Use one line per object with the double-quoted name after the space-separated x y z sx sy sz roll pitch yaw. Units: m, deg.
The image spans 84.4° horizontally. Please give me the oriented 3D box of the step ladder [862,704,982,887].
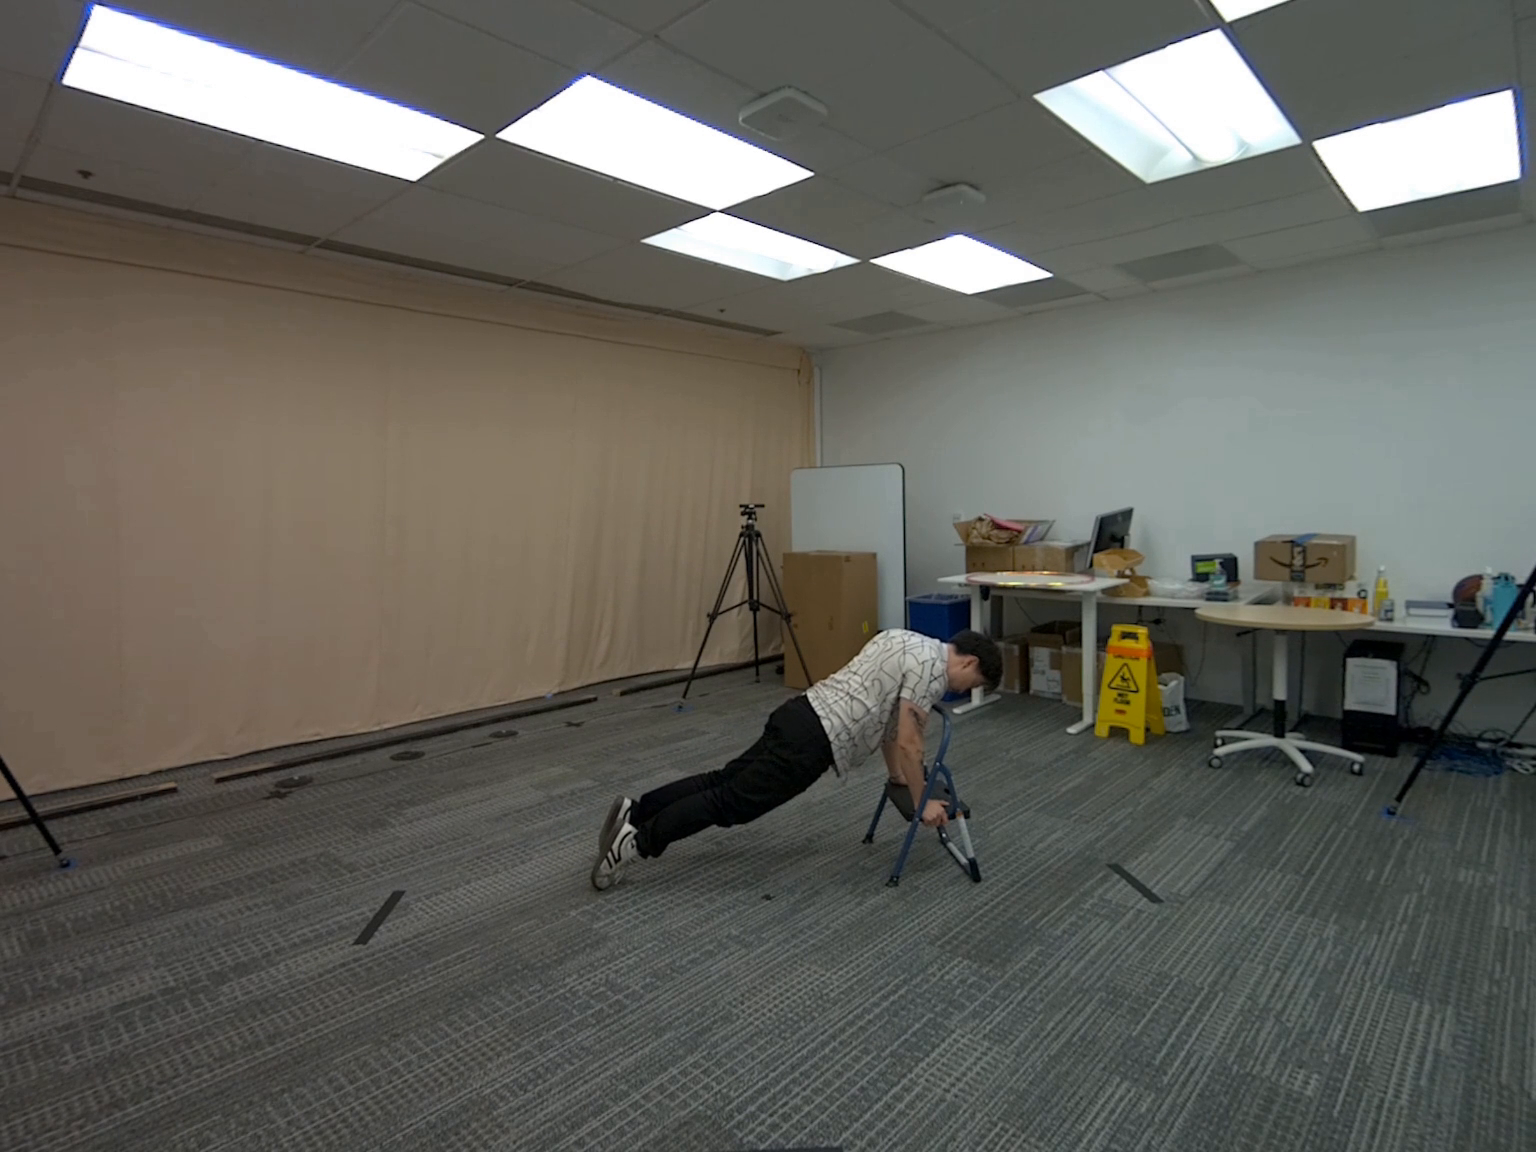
0.587 0.808 3.246 0.348 0.604 0.434 -2 4 -6 "step ladder"
